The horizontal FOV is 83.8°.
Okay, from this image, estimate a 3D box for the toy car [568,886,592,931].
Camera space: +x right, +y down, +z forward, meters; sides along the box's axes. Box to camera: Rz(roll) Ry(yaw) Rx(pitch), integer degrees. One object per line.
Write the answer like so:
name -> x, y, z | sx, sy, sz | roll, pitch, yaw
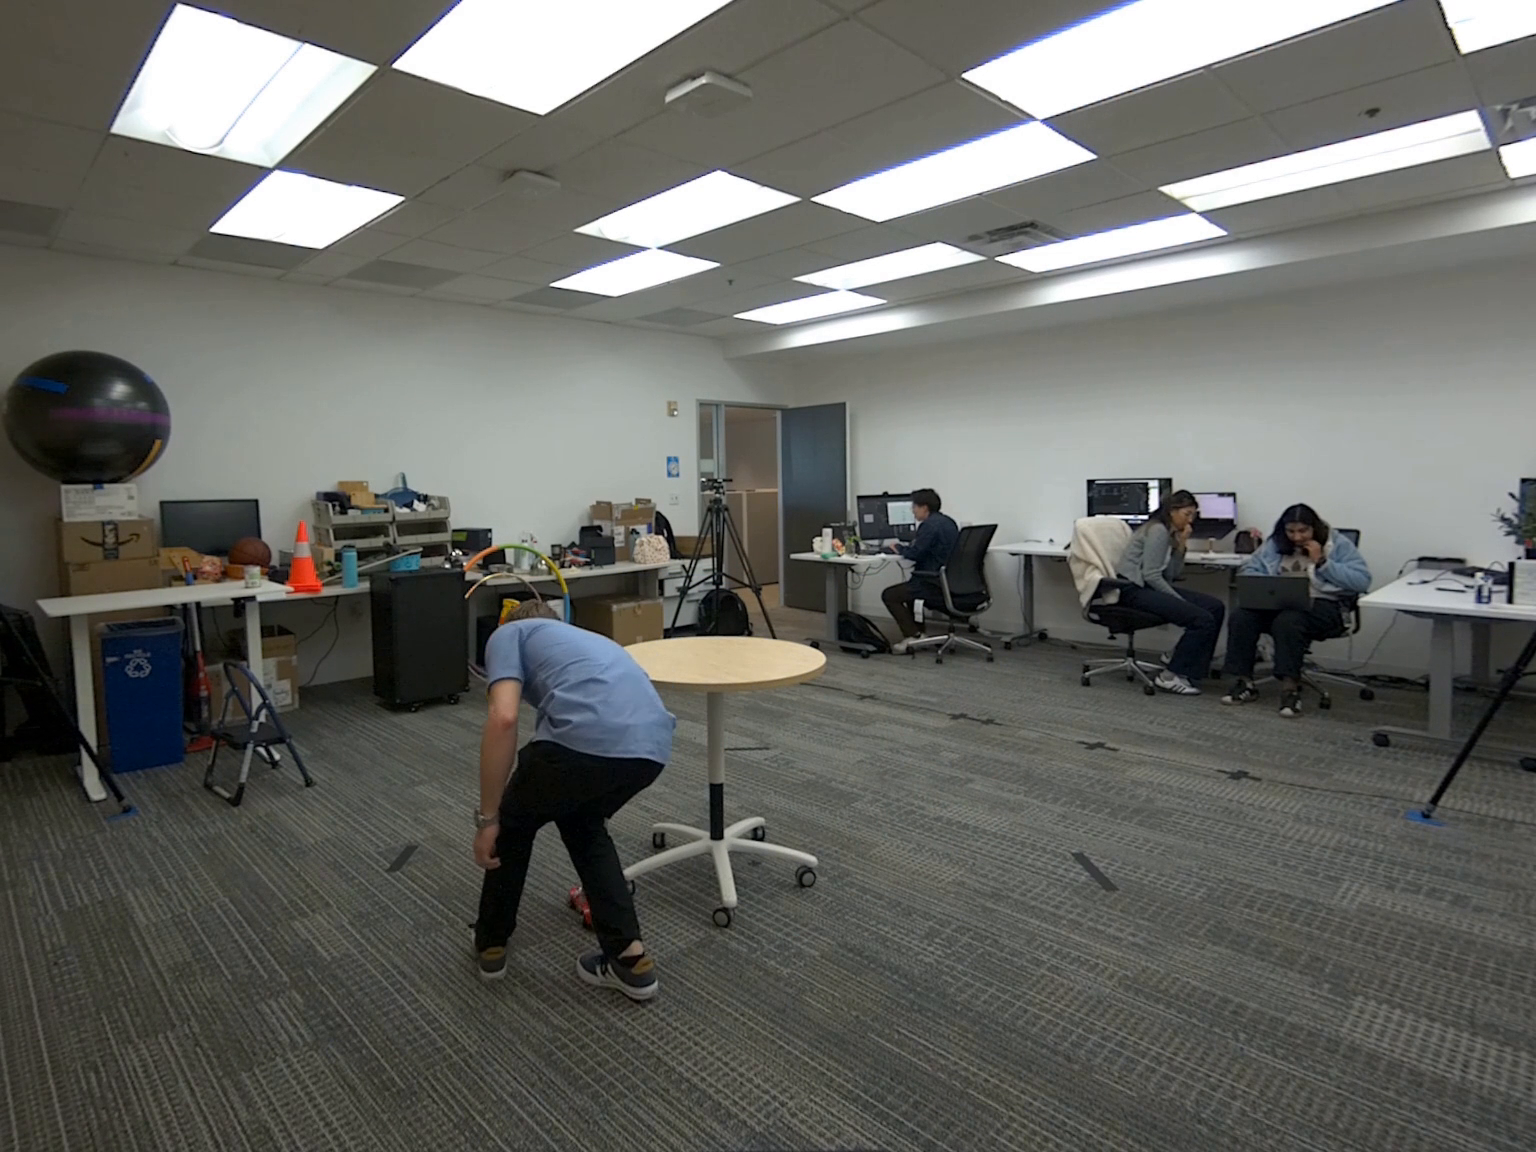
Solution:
toy car -> -0.550, 1.066, 2.747 | 0.127, 0.083, 0.259 | -5, -3, -30
